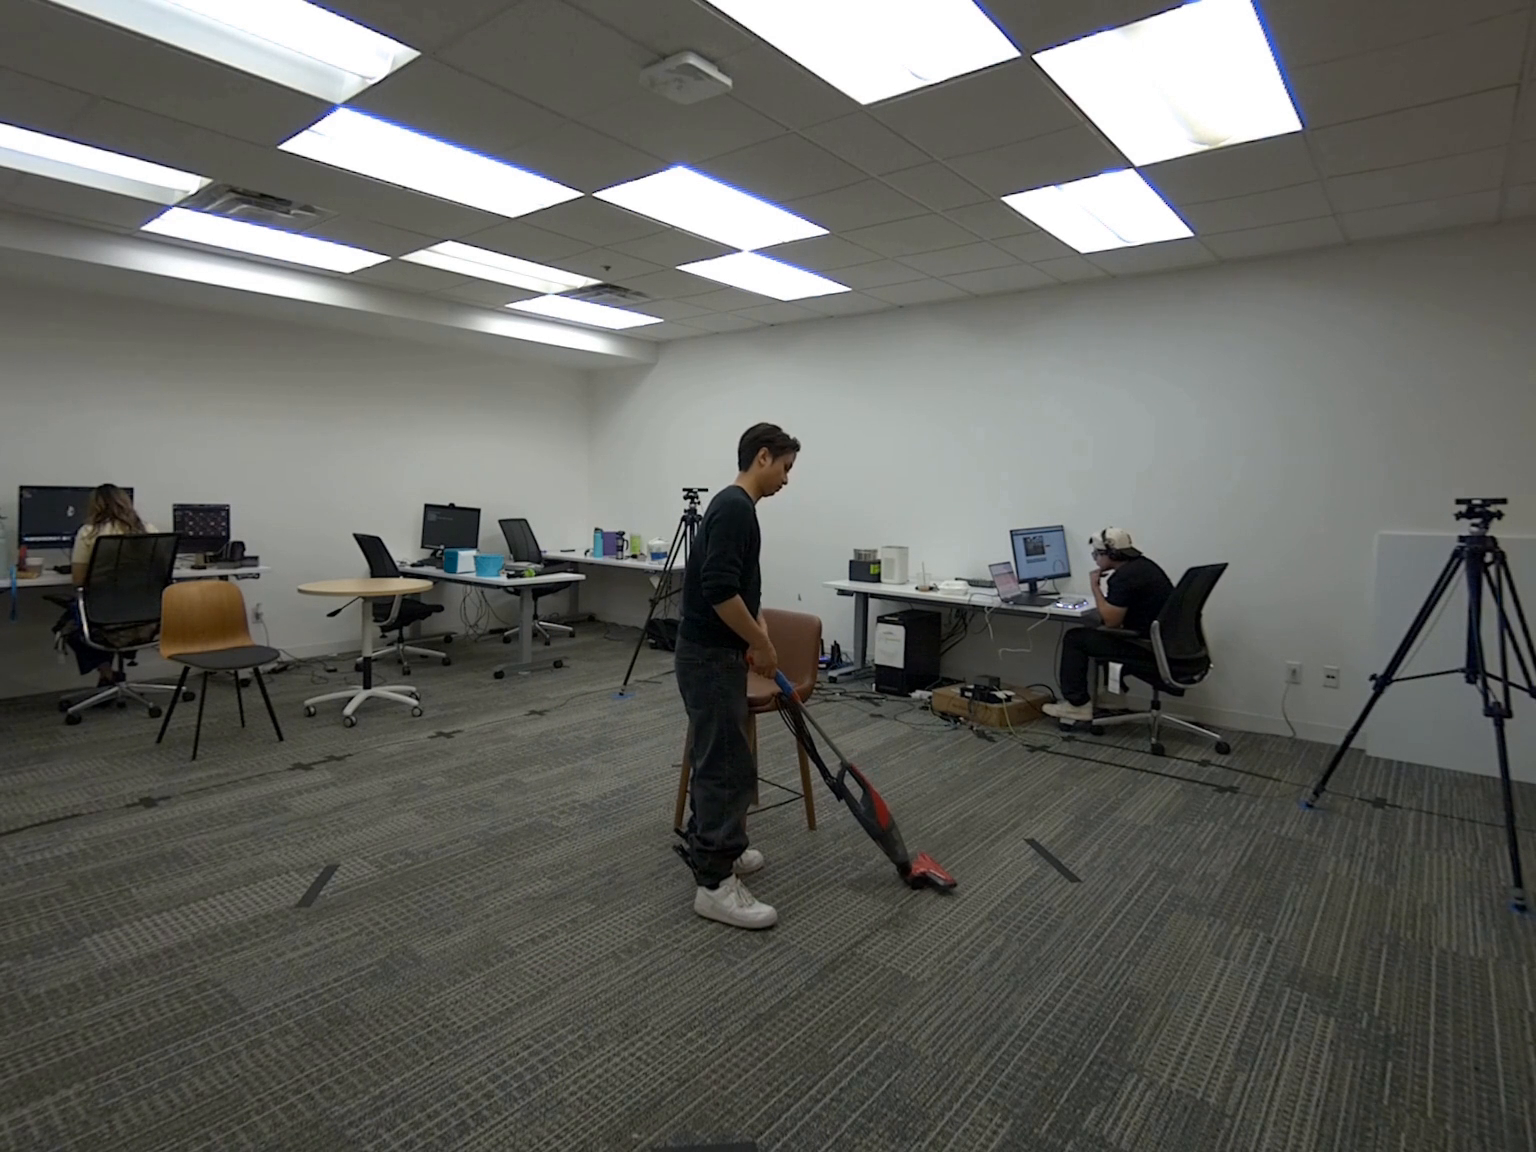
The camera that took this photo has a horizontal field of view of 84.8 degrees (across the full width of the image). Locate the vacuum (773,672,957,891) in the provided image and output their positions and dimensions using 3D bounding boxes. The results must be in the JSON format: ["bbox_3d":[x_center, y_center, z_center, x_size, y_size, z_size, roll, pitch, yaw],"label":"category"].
[{"bbox_3d":[0.249,0.682,2.962,0.144,1.032,0.257,-39,12,-9],"label":"vacuum"}]
